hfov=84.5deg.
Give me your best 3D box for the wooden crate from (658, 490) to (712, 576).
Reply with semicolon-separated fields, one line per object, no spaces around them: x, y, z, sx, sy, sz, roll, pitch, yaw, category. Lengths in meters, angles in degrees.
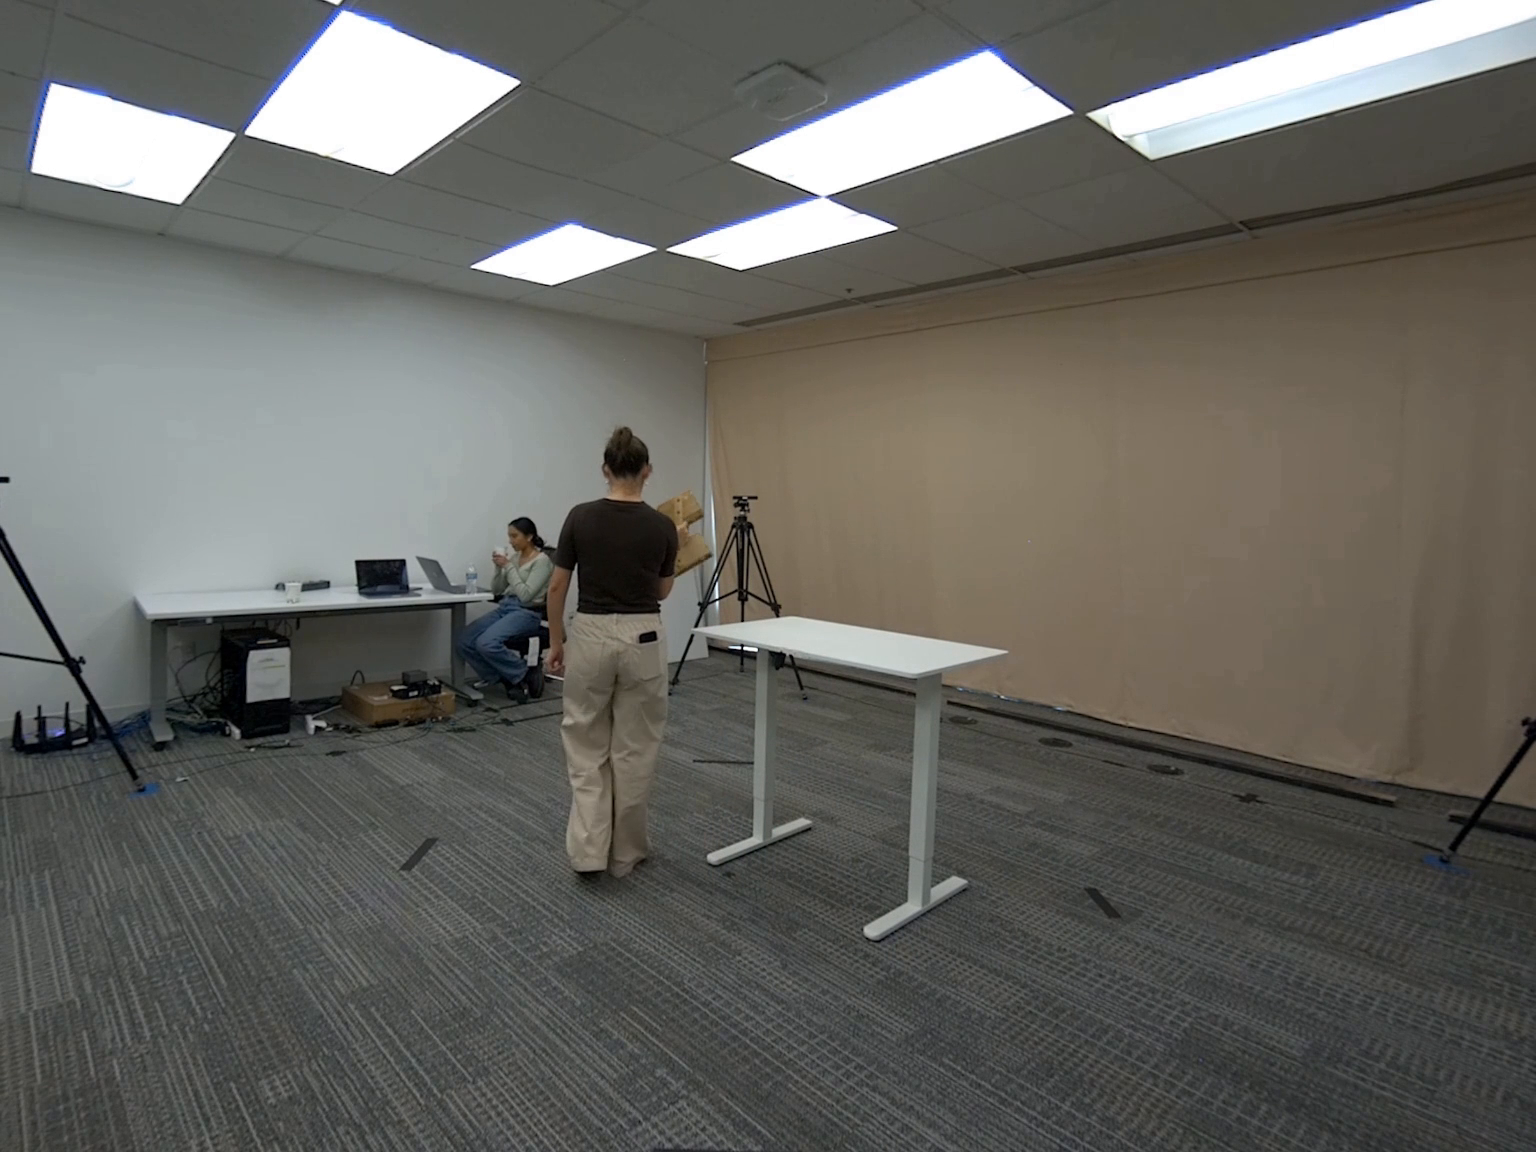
-0.397;-0.159;3.473;0.302;0.274;0.324;-29;-2;-2;wooden crate
